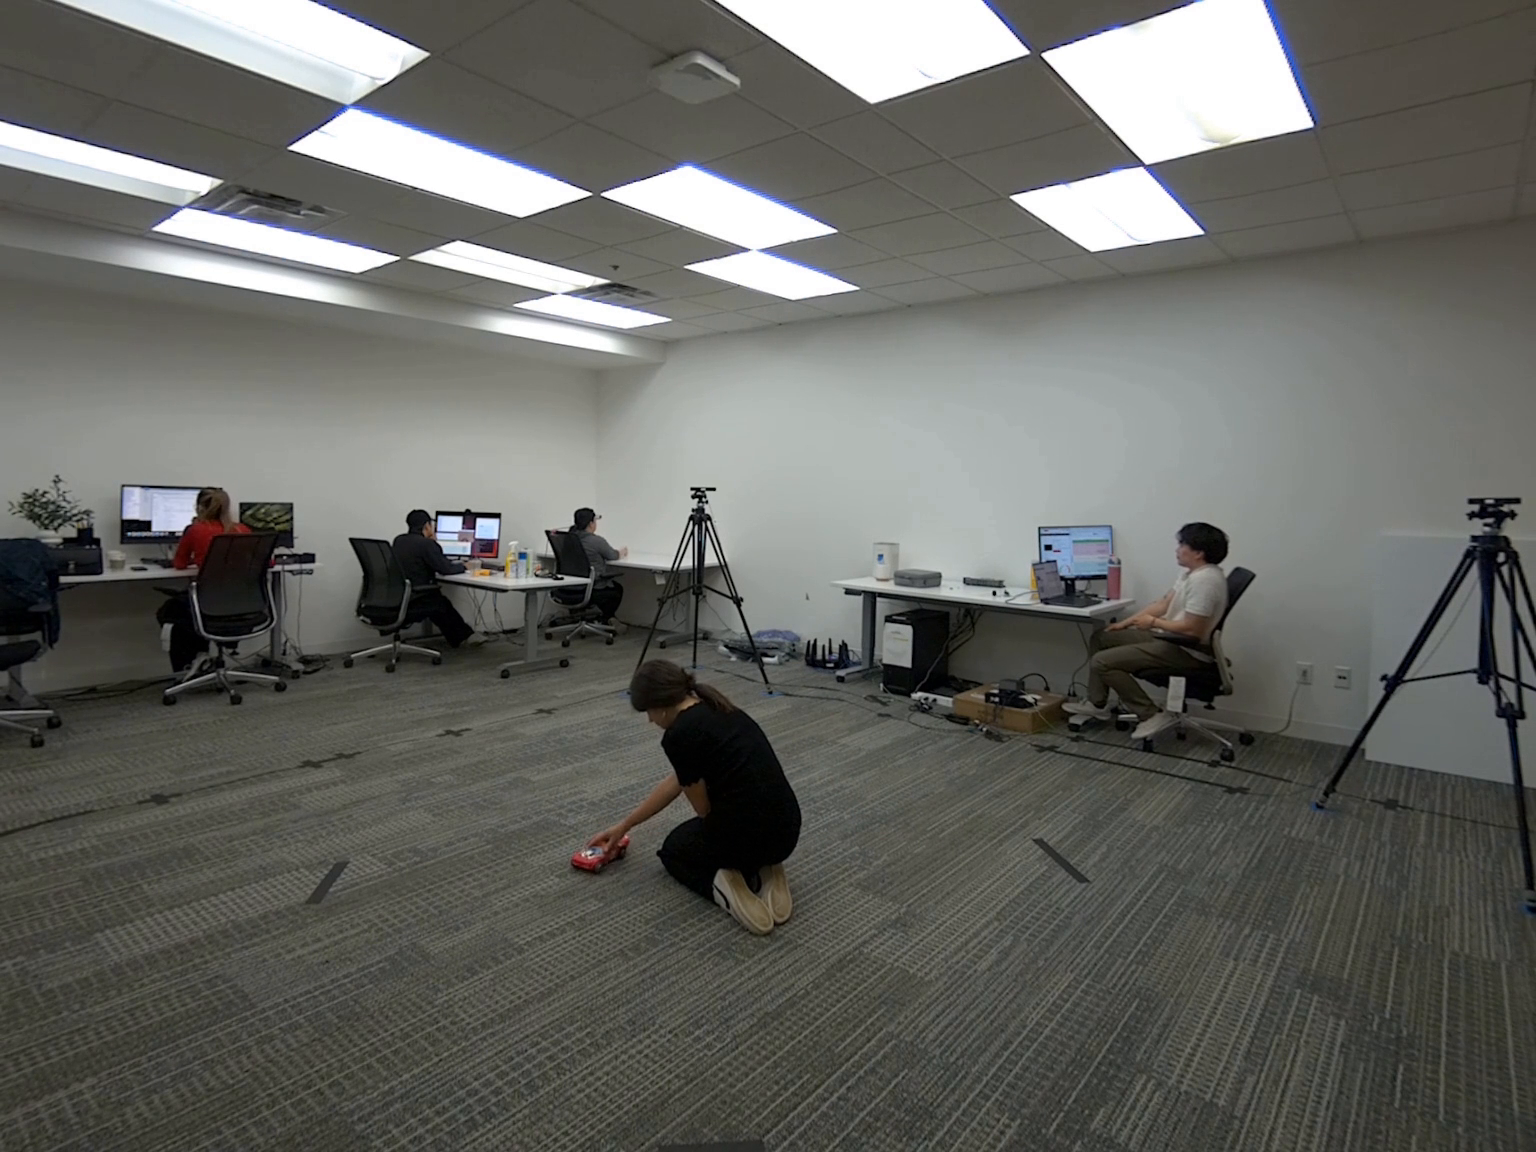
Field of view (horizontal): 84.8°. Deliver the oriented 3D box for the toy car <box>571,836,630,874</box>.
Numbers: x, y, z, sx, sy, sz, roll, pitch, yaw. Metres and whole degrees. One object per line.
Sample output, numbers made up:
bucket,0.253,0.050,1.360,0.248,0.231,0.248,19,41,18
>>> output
toy car,-0.617,1.024,3.165,0.134,0.082,0.250,2,15,28
